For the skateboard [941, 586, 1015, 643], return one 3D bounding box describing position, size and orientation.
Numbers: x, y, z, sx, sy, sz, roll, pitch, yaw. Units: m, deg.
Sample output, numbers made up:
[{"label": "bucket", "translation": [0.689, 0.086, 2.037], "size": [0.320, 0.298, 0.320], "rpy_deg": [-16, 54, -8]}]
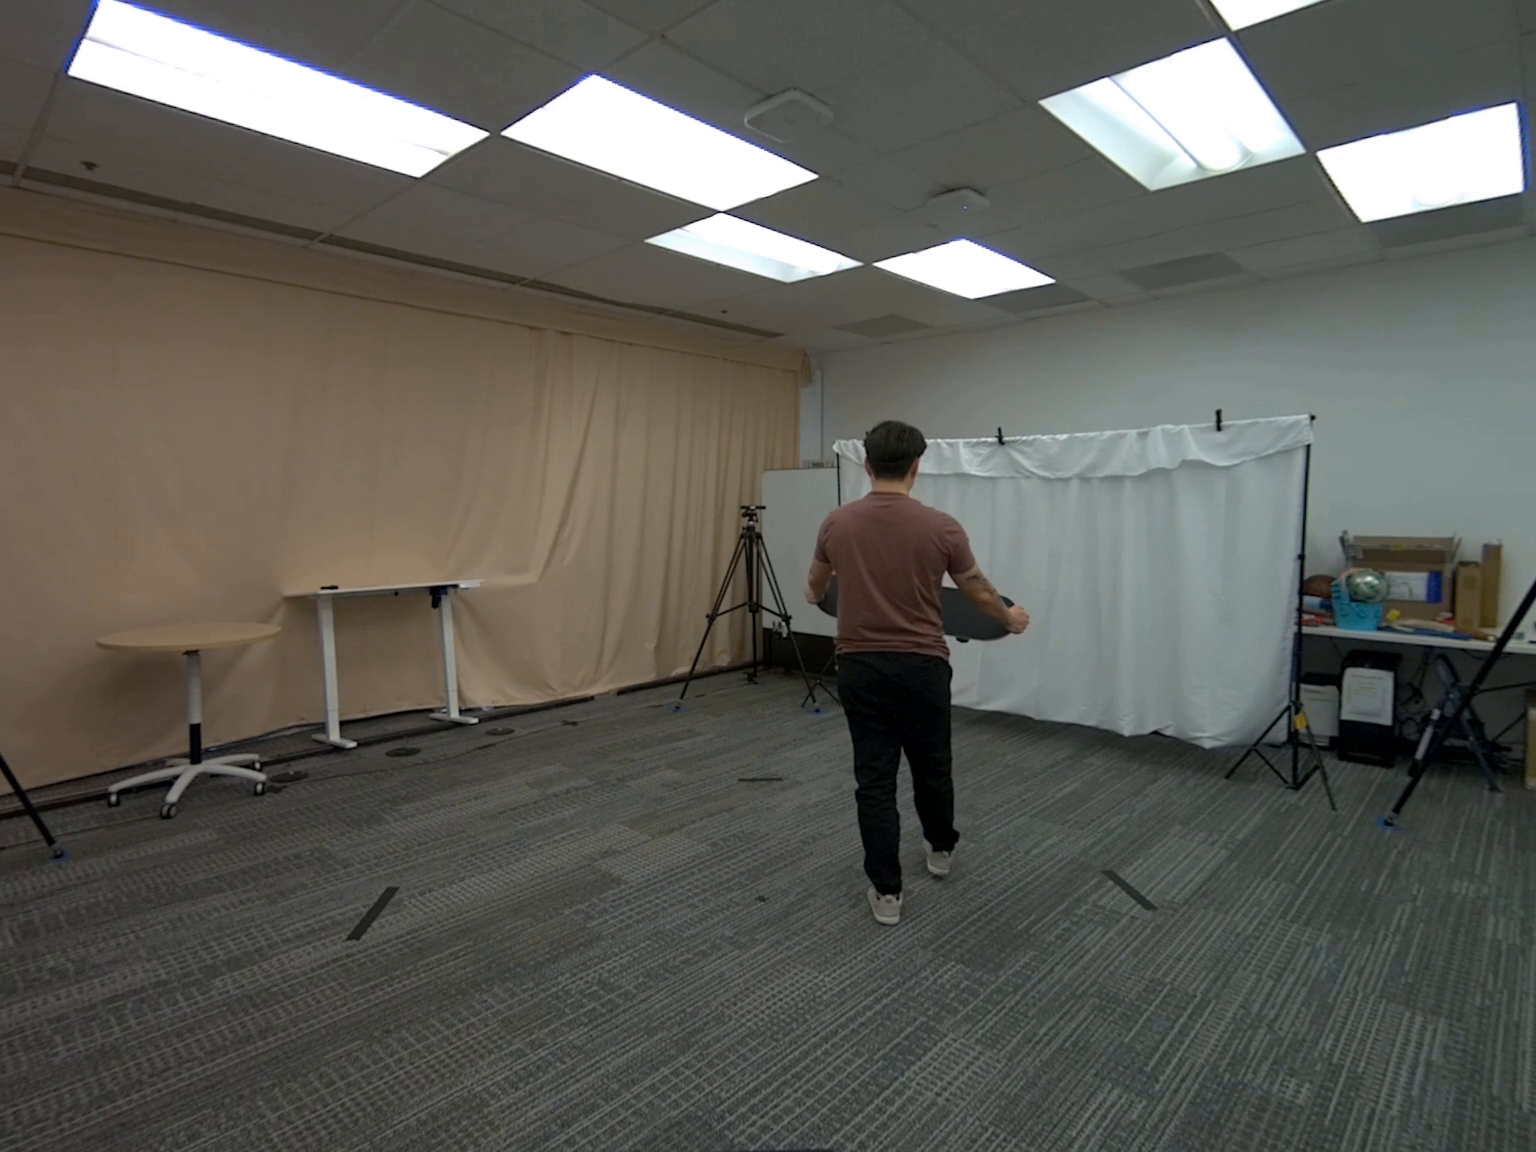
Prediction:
[{"label": "skateboard", "translation": [0.569, 0.123, 3.274], "size": [0.807, 0.194, 0.107], "rpy_deg": [9, -15, 25]}]
